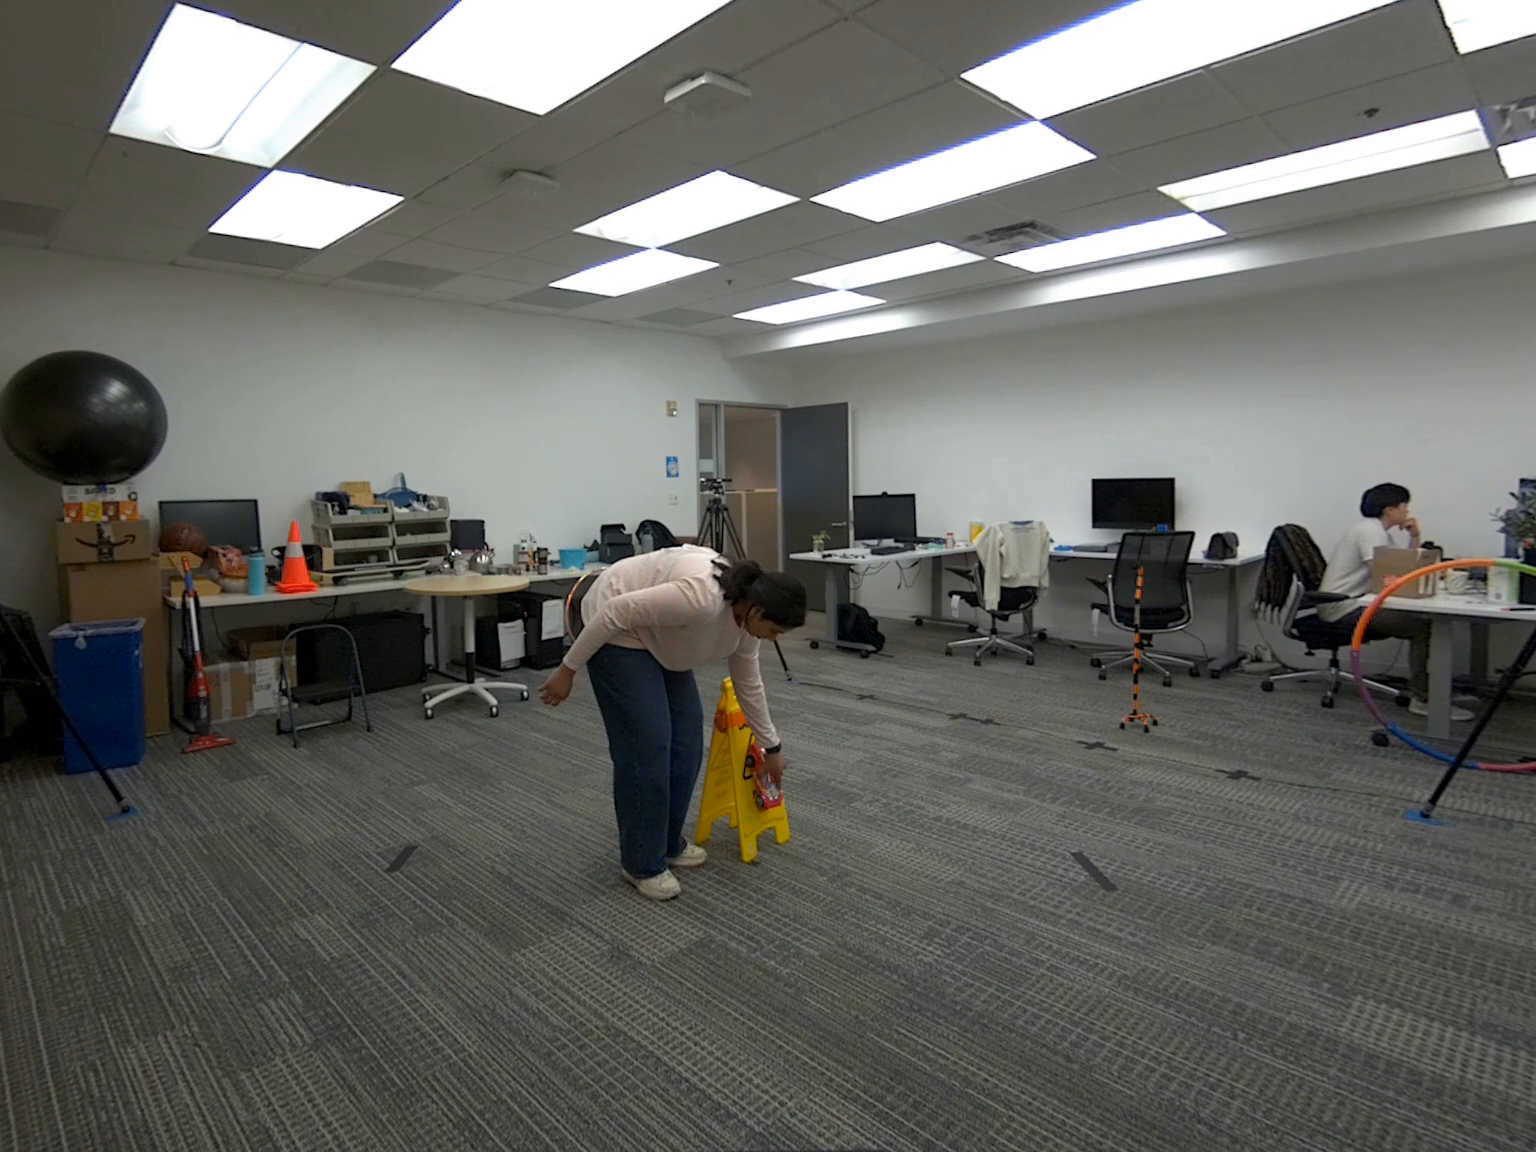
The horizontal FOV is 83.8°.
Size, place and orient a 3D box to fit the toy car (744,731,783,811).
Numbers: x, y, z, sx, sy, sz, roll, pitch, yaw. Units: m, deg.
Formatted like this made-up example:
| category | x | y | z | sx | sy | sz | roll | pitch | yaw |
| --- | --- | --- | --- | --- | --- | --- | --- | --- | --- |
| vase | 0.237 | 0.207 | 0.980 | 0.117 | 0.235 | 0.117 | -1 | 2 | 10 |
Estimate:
| category | x | y | z | sx | sy | sz | roll | pitch | yaw |
| --- | --- | --- | --- | --- | --- | --- | --- | --- | --- |
| toy car | -0.026 | 0.736 | 3.189 | 0.085 | 0.256 | 0.126 | -9 | -9 | 39 |
